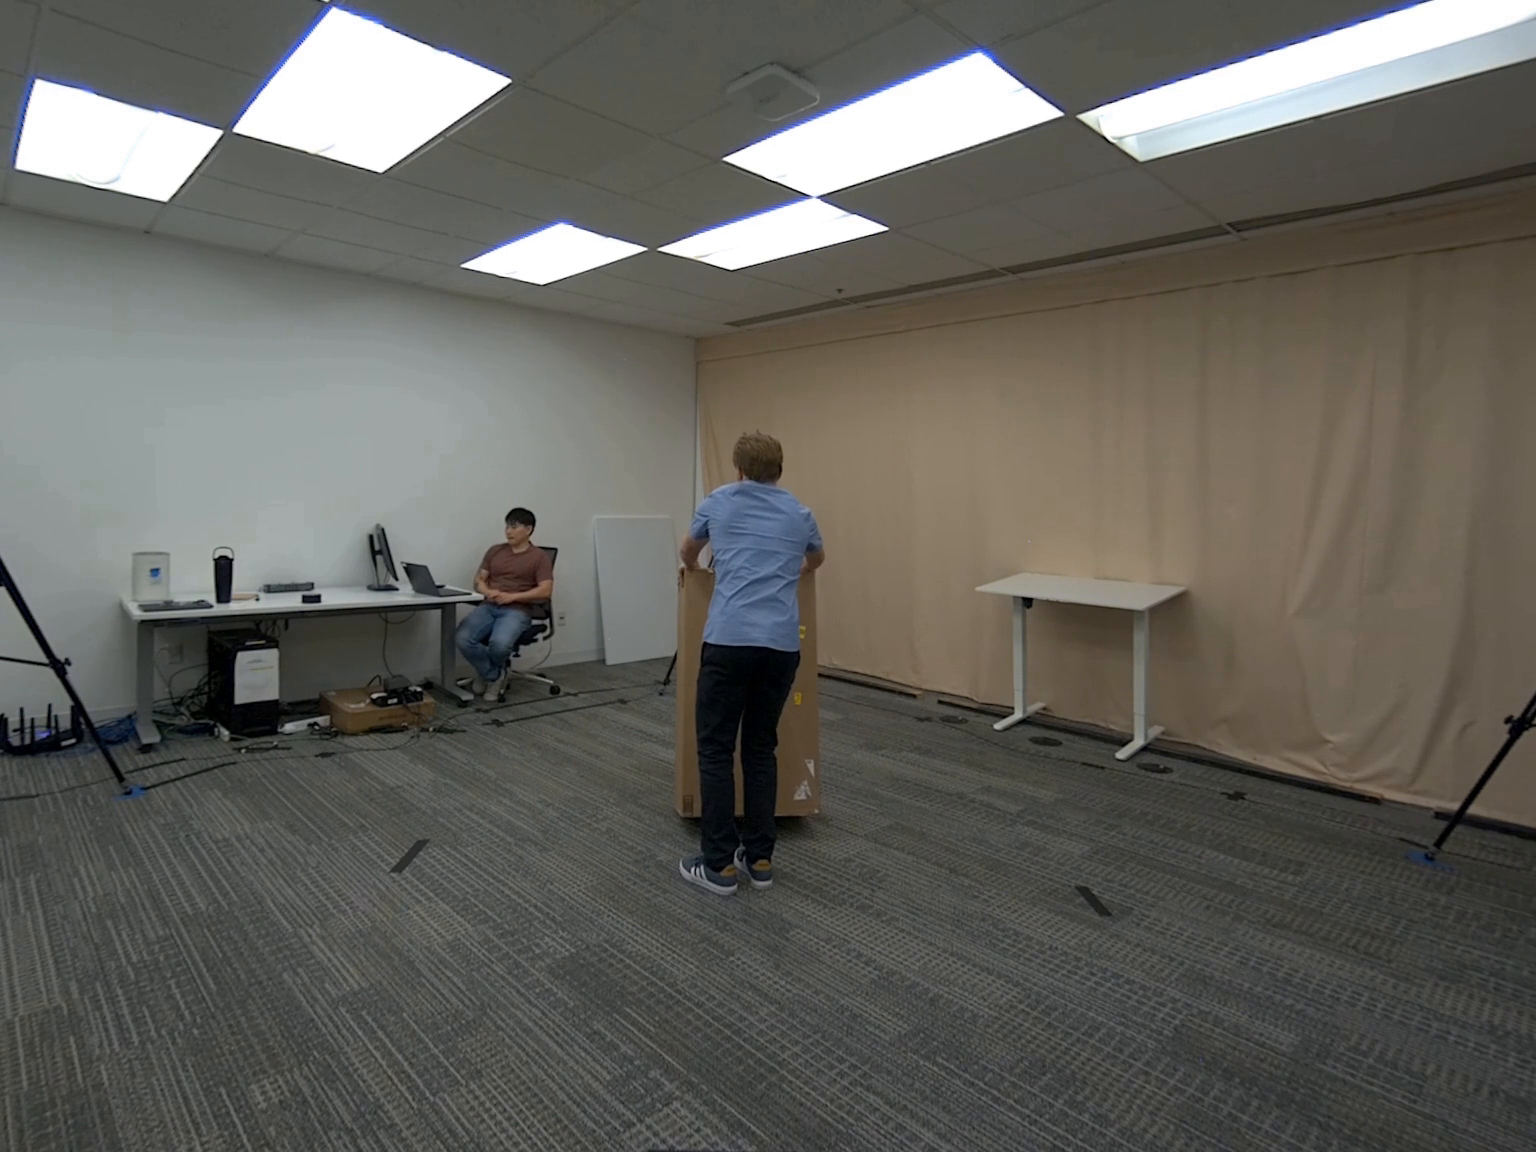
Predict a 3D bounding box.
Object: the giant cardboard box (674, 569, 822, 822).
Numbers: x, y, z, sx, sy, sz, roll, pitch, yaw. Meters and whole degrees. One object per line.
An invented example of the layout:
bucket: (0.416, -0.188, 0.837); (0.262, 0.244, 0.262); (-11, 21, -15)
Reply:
giant cardboard box: (-0.106, 0.508, 3.718); (0.581, 1.036, 0.445); (1, -12, -7)
